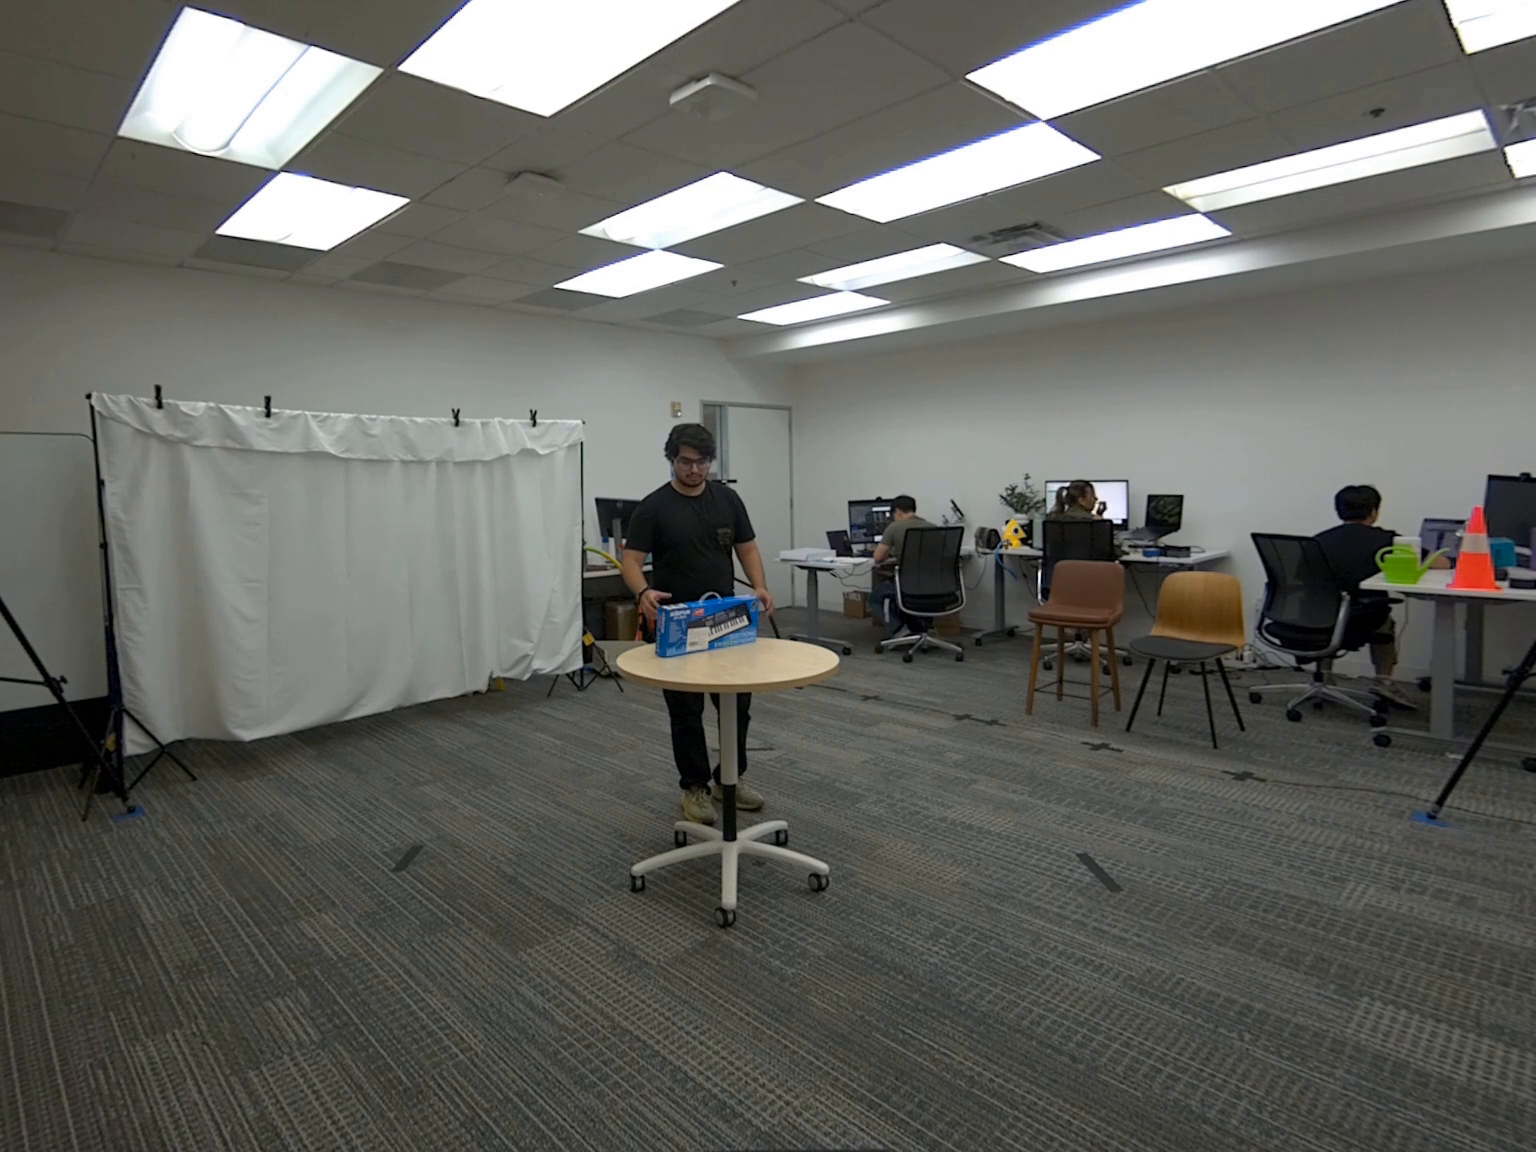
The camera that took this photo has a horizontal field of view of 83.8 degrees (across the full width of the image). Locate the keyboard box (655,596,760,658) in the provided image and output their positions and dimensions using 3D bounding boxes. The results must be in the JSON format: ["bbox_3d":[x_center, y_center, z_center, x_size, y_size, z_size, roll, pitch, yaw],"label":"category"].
[{"bbox_3d":[-0.220,0.182,3.102,0.425,0.175,0.061,-6,12,-43],"label":"keyboard box"}]
